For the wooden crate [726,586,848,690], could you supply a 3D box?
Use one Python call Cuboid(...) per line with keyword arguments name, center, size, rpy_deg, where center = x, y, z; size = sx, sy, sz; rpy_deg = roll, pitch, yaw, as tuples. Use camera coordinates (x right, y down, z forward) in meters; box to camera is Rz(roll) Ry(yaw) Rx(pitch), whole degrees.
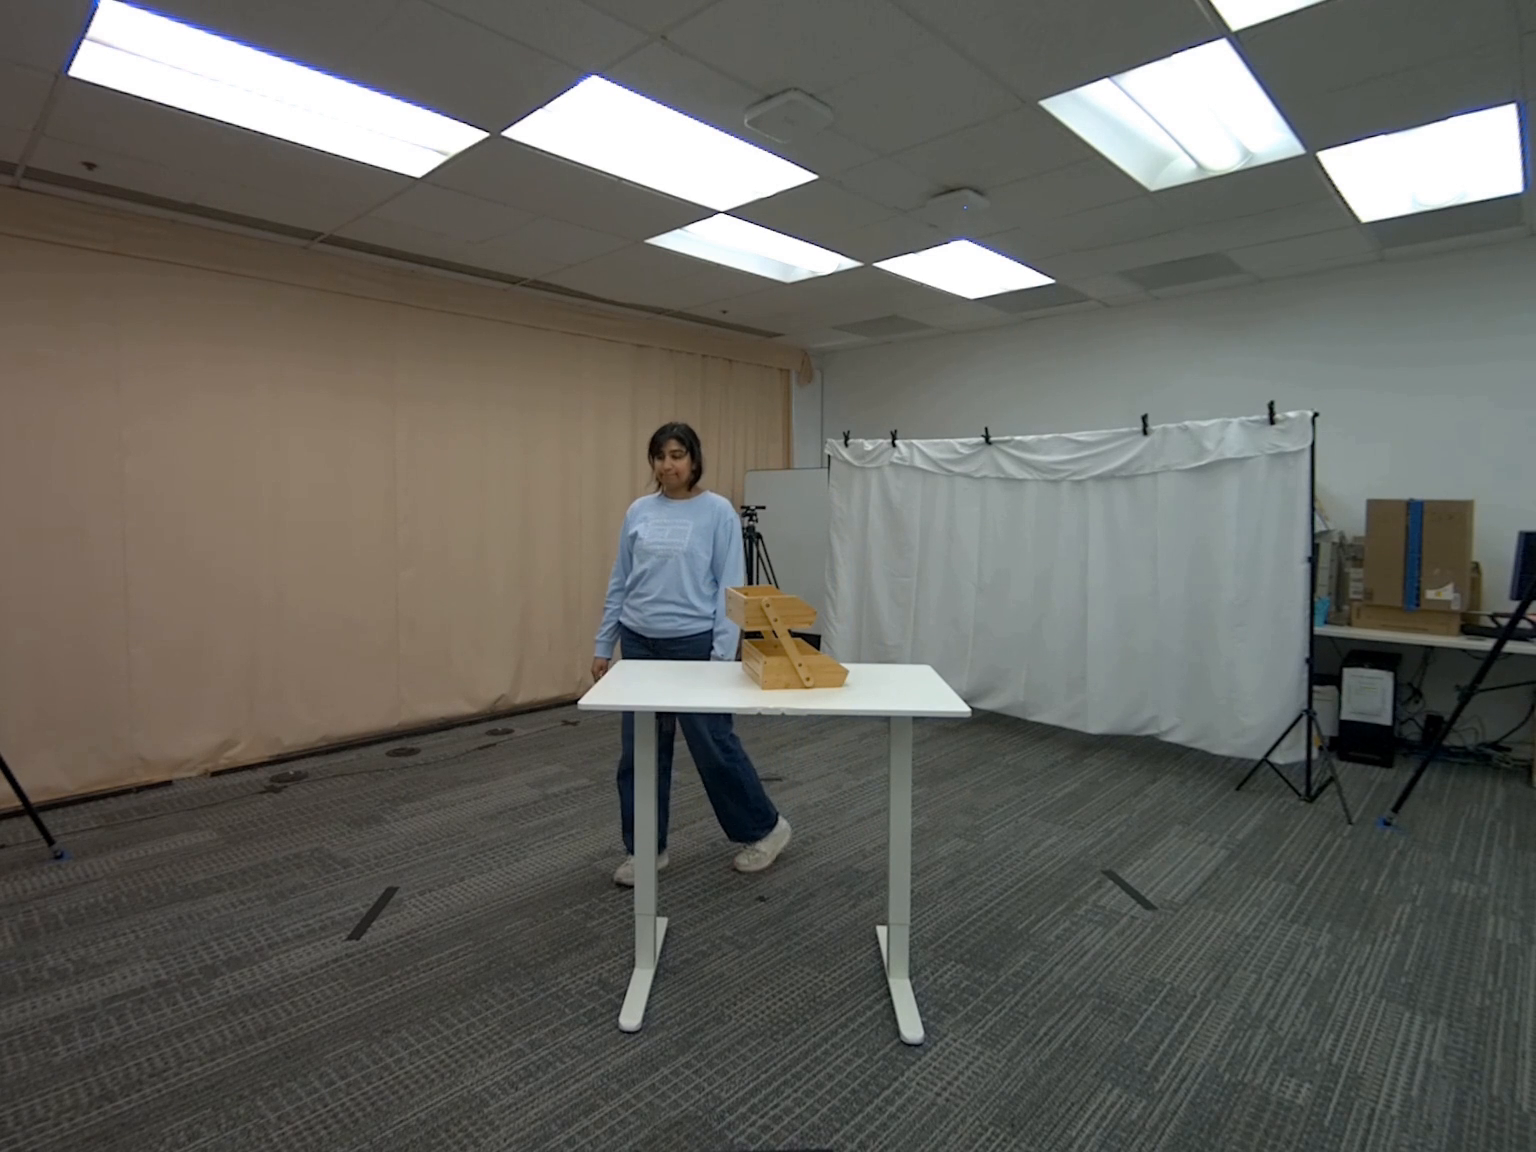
Cuboid(name="wooden crate", center=(0.055, 0.171, 2.480), size=(0.299, 0.272, 0.329), rpy_deg=(-2, 4, -11))
